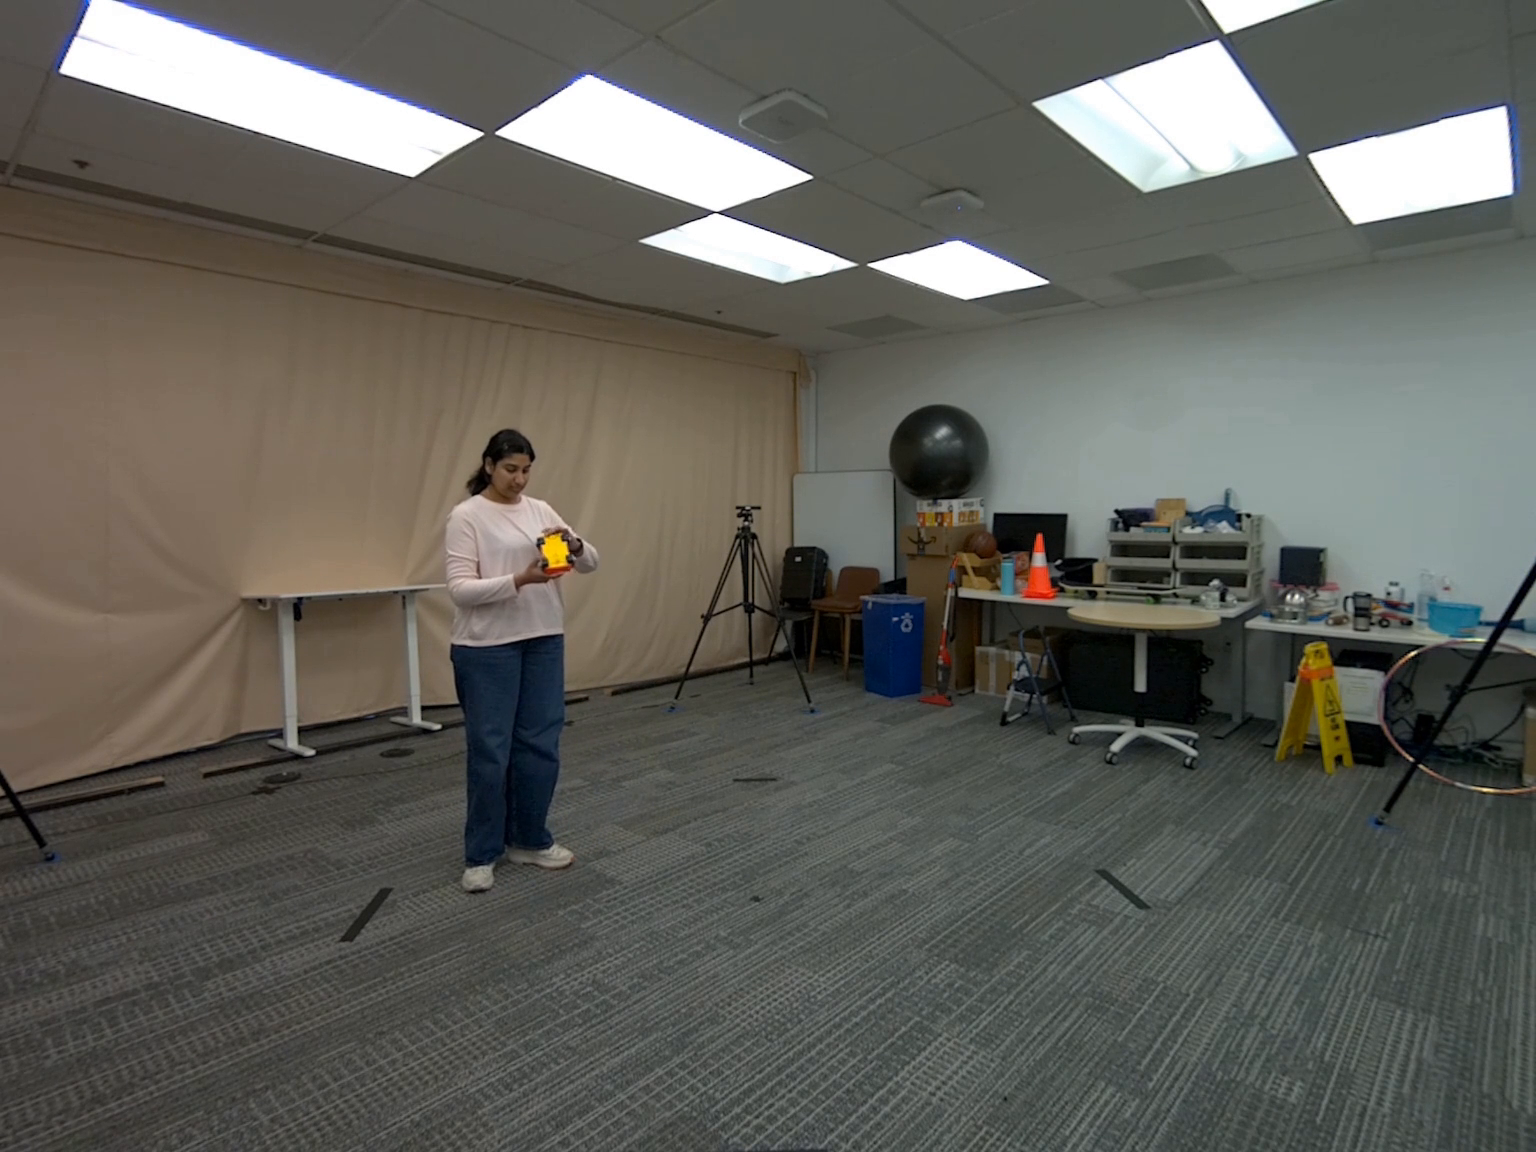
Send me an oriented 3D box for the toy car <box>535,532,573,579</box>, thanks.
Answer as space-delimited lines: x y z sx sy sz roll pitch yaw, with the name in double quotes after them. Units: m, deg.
-0.757 -0.087 3.000 0.129 0.082 0.261 -8 22 -12 "toy car"
